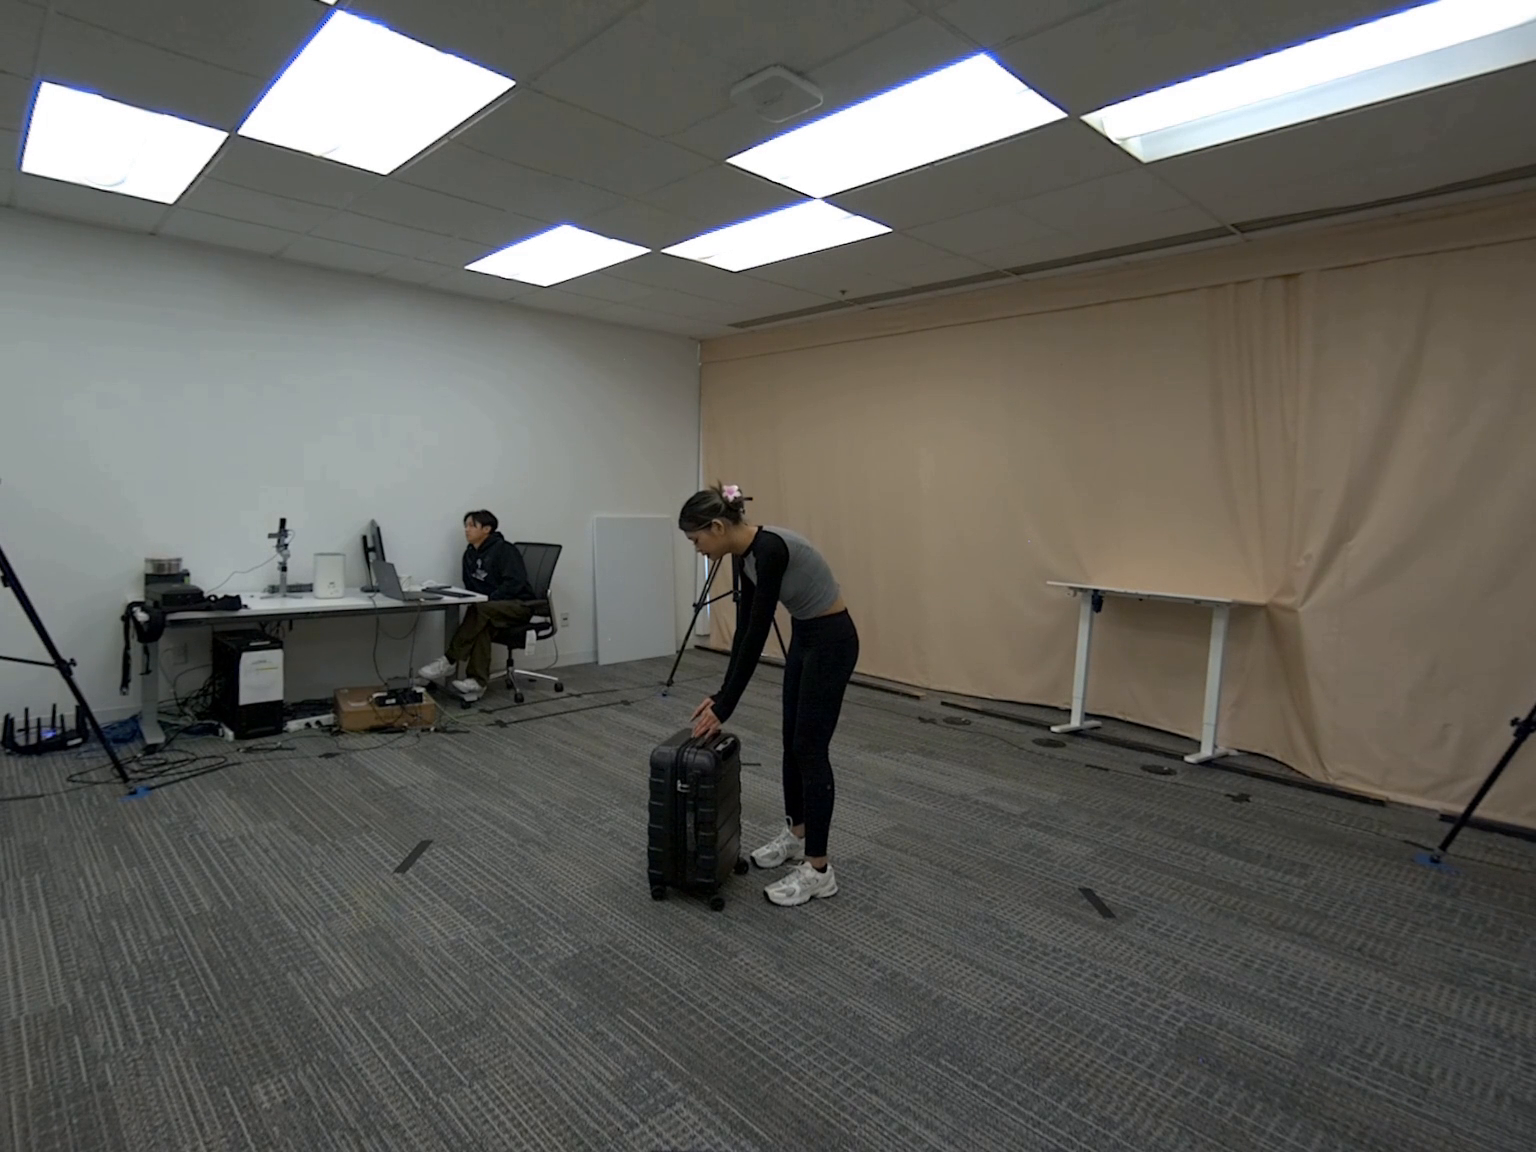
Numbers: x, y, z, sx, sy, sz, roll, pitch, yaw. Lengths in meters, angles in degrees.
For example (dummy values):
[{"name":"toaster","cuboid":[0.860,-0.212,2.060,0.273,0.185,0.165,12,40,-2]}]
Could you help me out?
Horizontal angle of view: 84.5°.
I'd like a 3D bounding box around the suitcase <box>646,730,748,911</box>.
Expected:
[{"name":"suitcase","cuboid":[-0.261,0.838,3.004,0.252,0.548,0.371,1,4,18]}]
